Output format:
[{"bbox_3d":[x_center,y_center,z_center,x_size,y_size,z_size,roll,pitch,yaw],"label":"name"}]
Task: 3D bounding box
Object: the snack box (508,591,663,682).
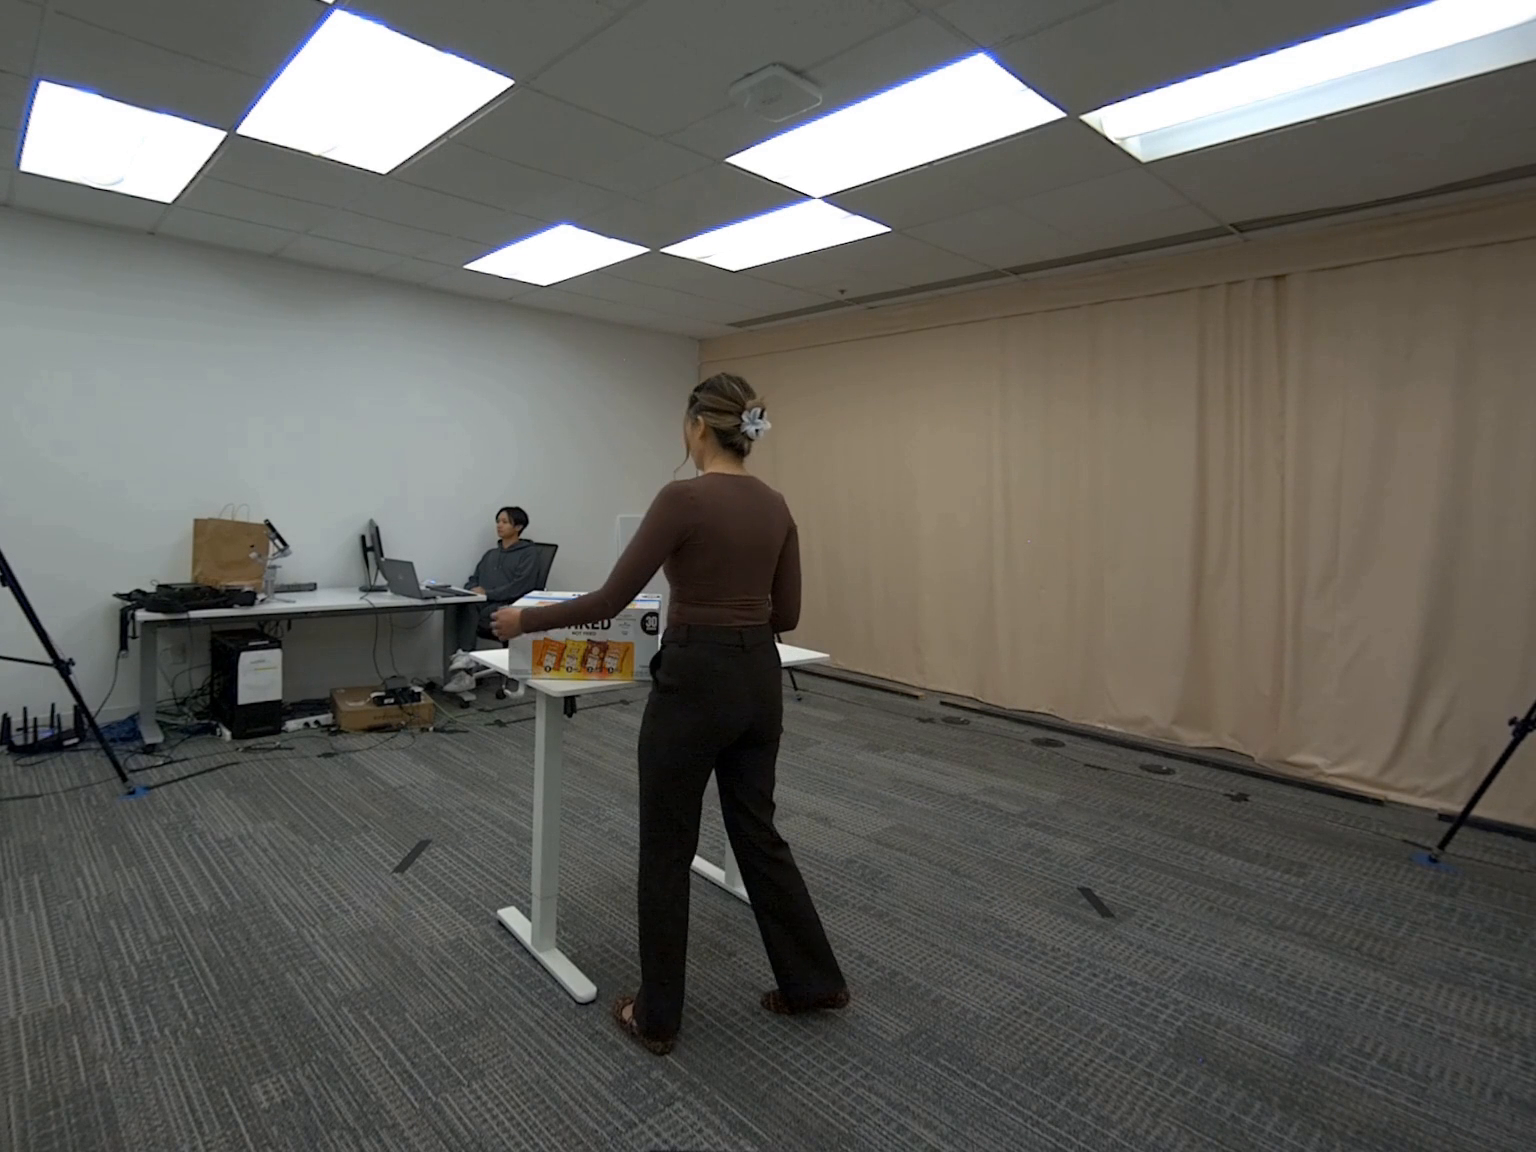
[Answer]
[{"bbox_3d":[-0.526,0.172,2.457,0.404,0.205,0.342,2,5,-4],"label":"snack box"}]
